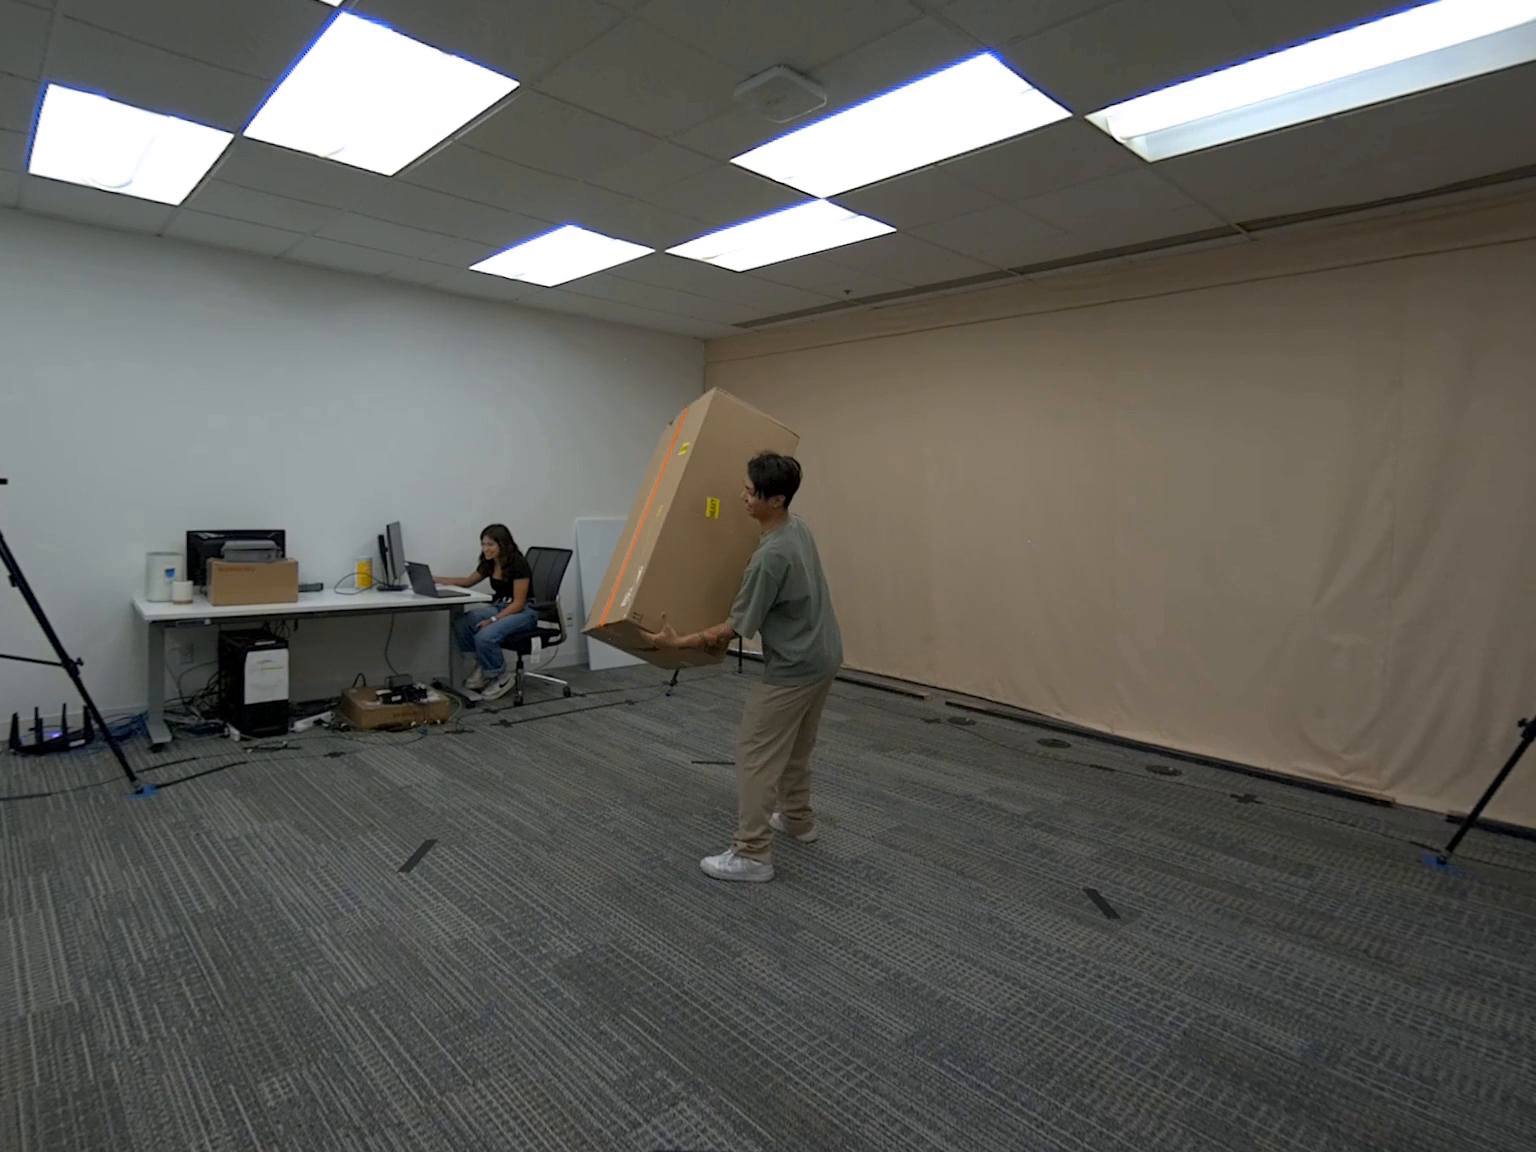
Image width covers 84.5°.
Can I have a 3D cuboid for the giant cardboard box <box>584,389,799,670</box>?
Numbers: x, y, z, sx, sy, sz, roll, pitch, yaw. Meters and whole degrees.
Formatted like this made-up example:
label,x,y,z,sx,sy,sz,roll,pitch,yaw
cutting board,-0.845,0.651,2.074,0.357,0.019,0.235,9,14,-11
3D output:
label,x,y,z,sx,sy,sz,roll,pitch,yaw
giant cardboard box,-0.332,-0.178,3.536,0.417,1.034,0.585,26,-20,-22
